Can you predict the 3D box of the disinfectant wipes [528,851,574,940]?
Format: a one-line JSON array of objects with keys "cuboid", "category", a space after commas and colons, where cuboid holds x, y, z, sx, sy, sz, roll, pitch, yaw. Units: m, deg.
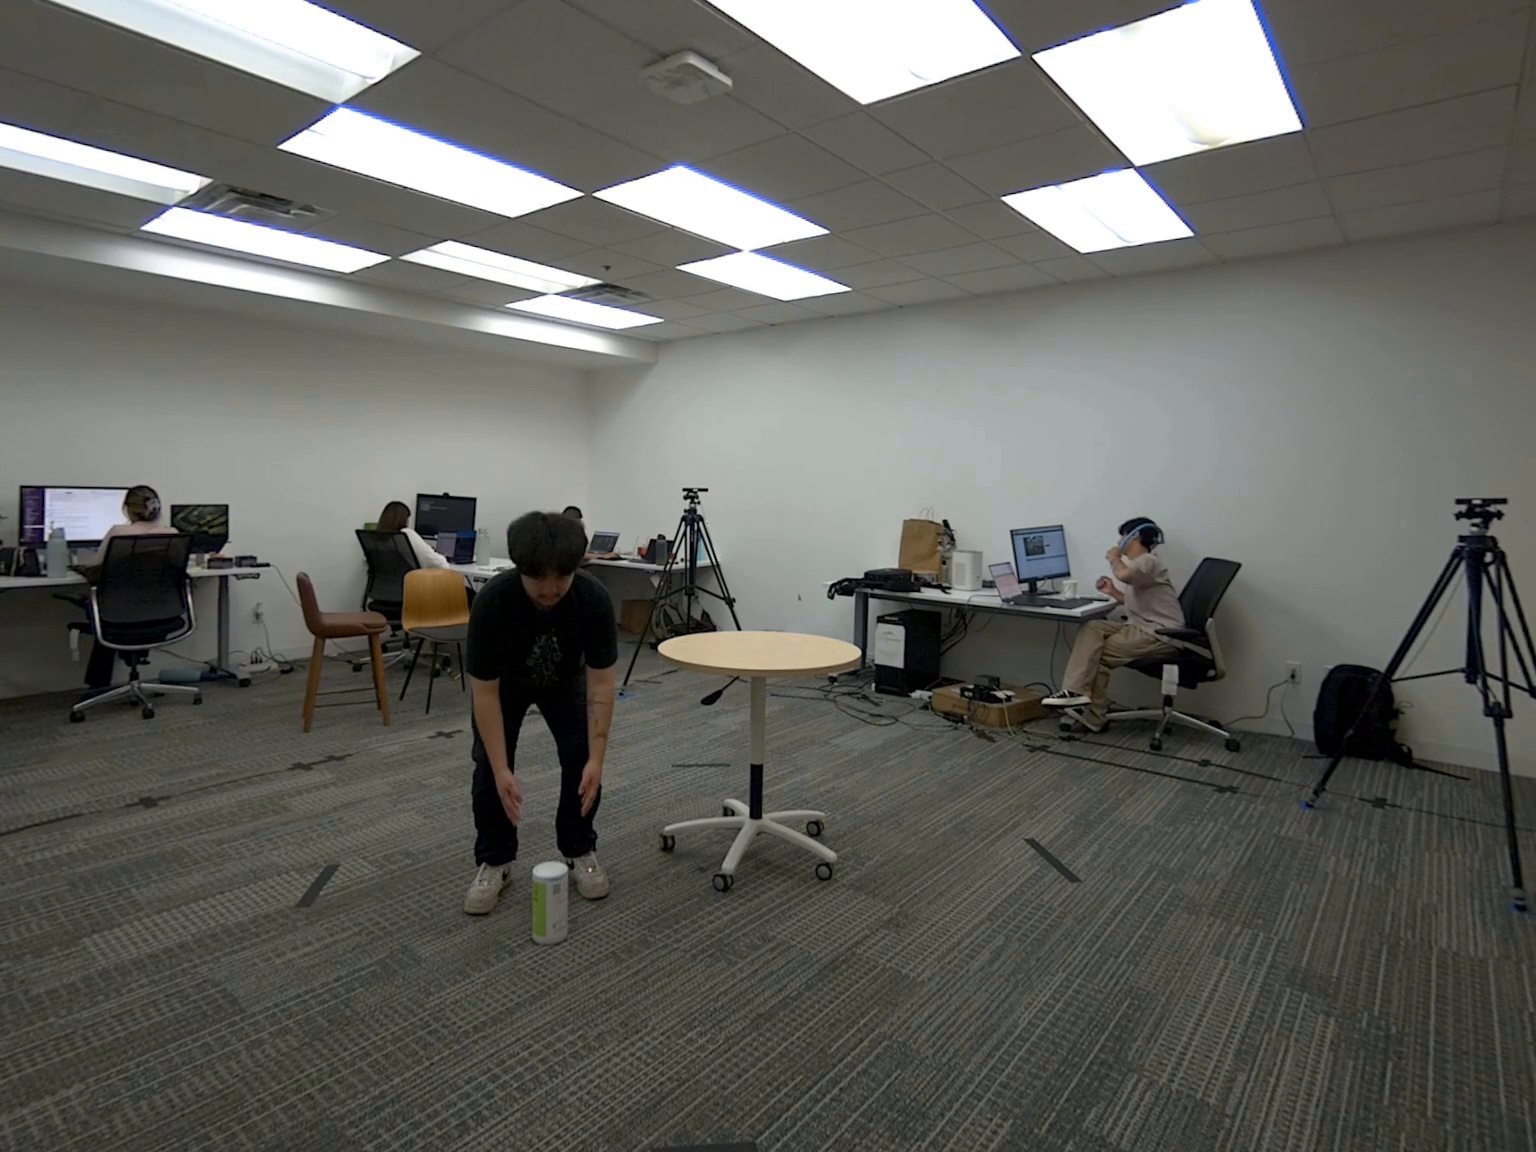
[{"cuboid": [-0.675, 0.990, 2.616, 0.118, 0.217, 0.118, 1, 3, -2], "category": "disinfectant wipes"}]
